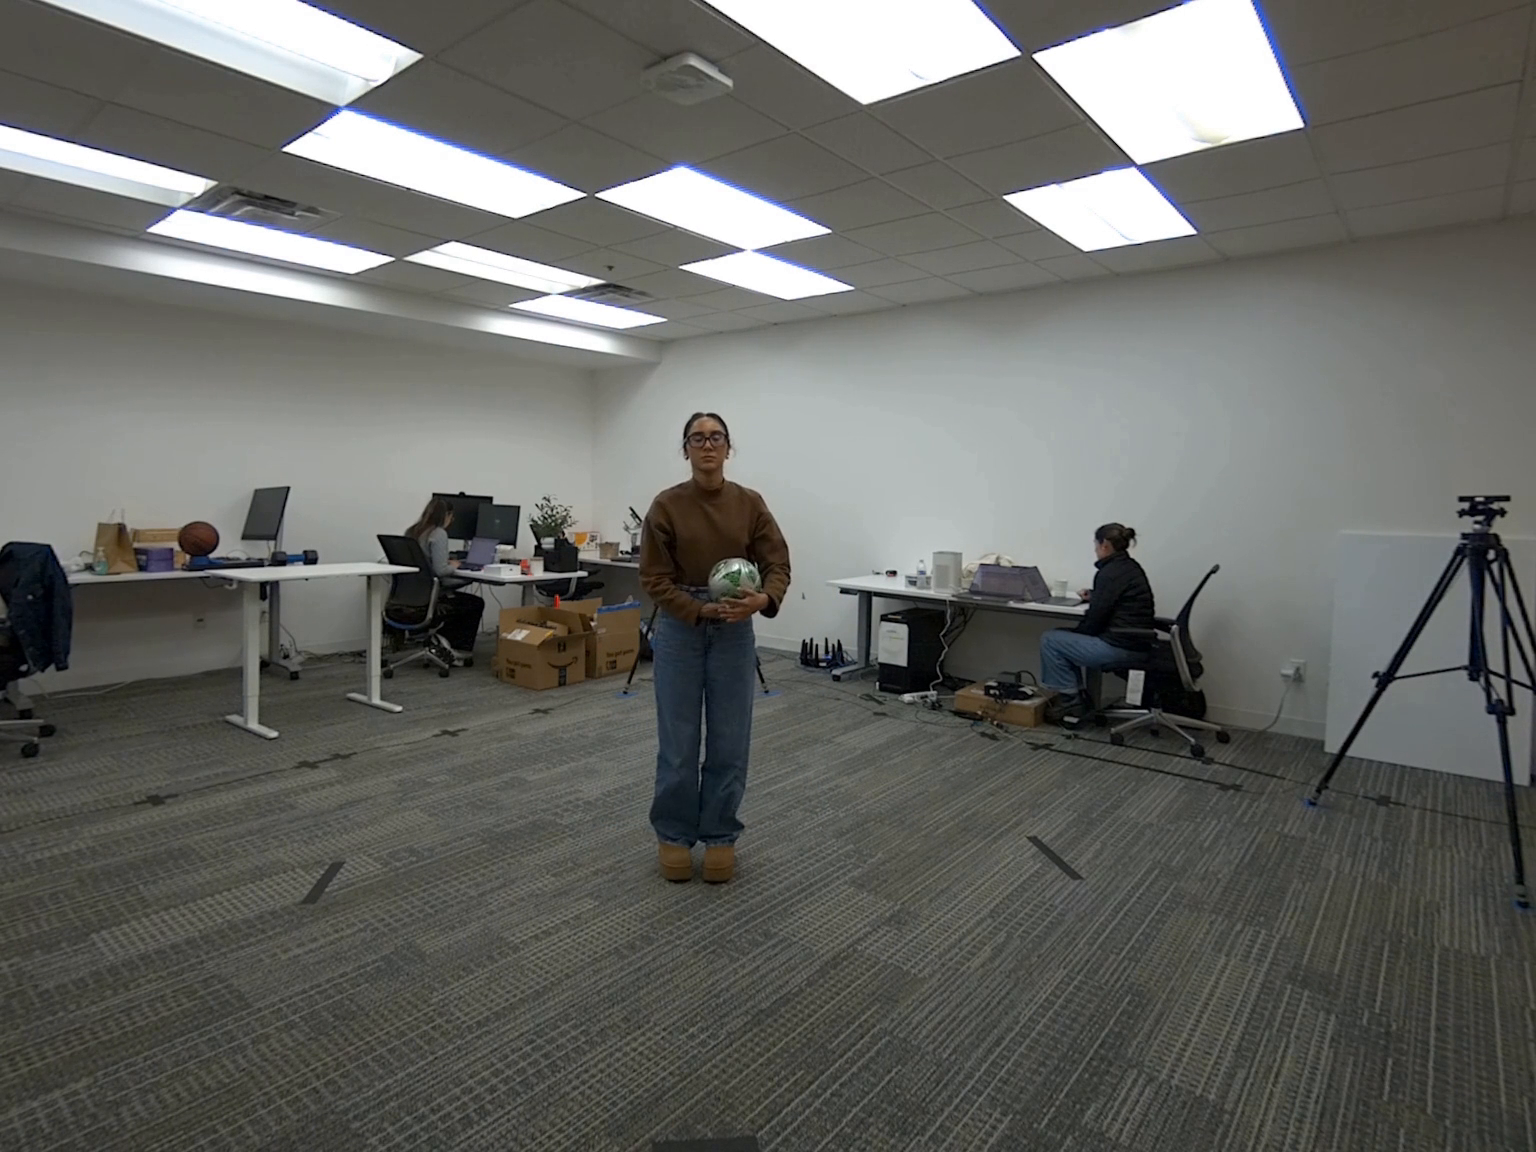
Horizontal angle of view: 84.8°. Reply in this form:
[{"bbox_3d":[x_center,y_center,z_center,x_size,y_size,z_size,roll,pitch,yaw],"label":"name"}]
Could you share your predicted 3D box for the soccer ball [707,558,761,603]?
[{"bbox_3d":[-0.134,0.030,2.943,0.187,0.187,0.188,1,4,-2],"label":"soccer ball"}]
